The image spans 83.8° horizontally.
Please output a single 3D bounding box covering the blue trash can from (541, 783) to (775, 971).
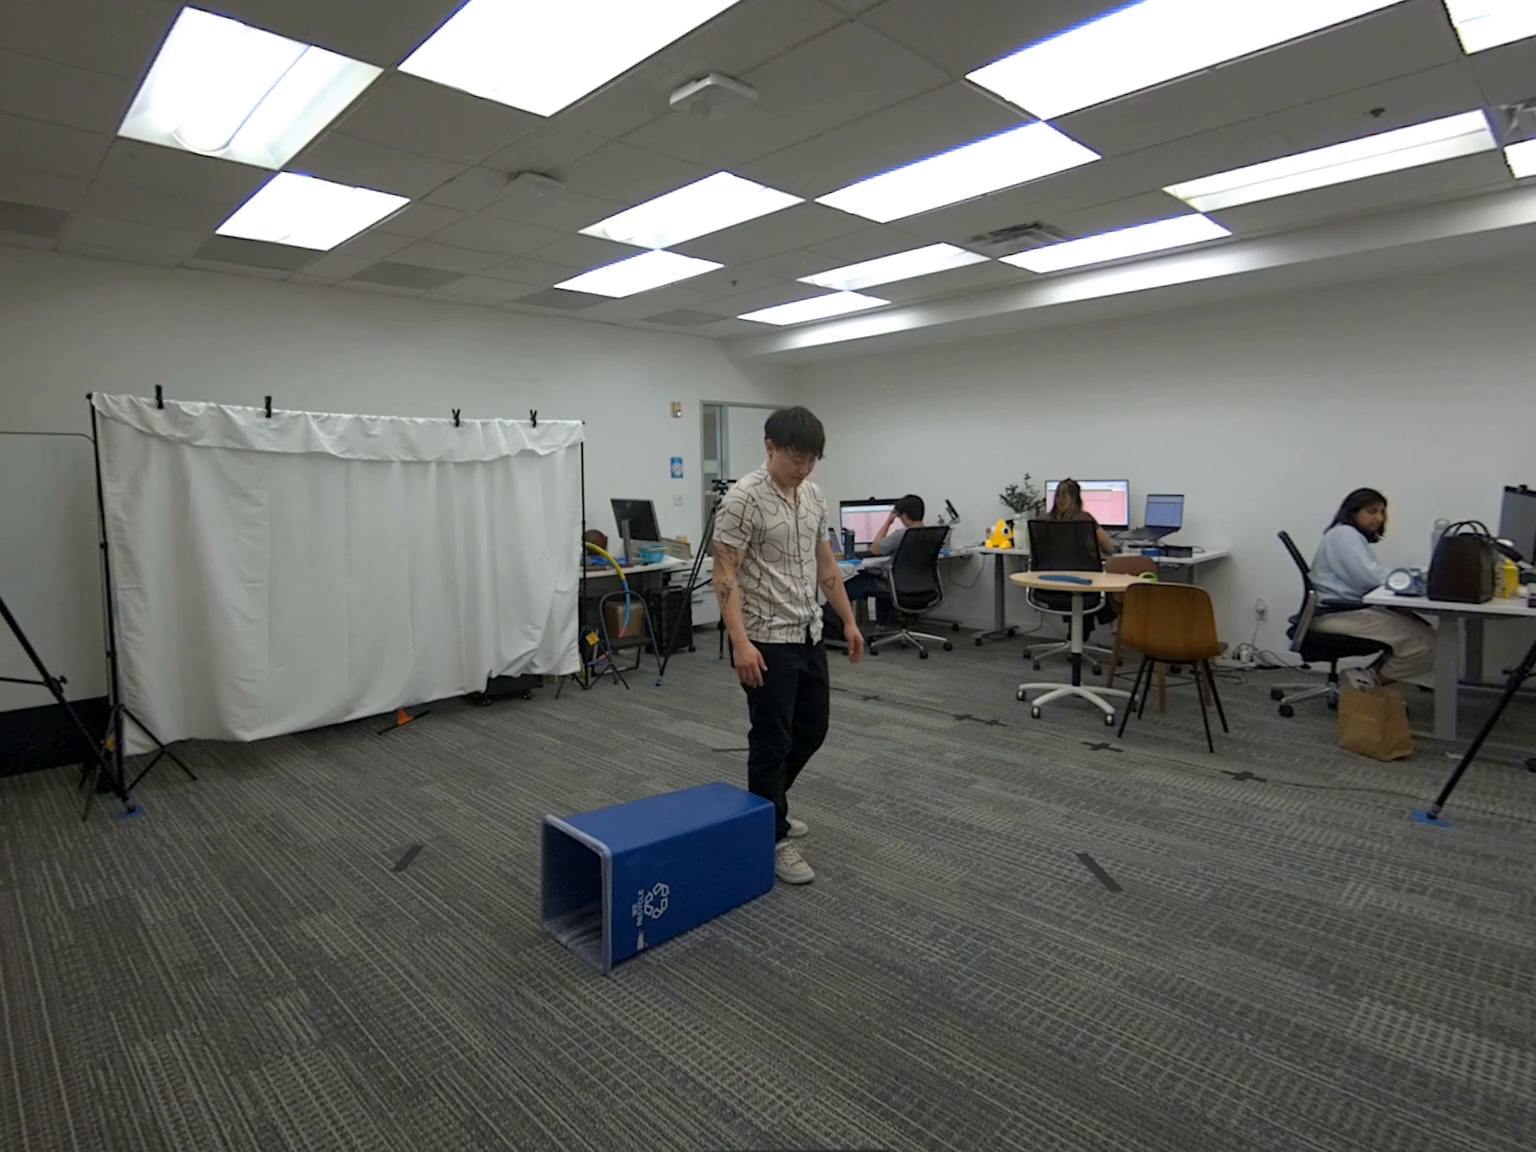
[{"bbox_3d":[-0.327,0.918,2.779,0.694,0.377,0.385,-4,6,-42],"label":"blue trash can"}]
